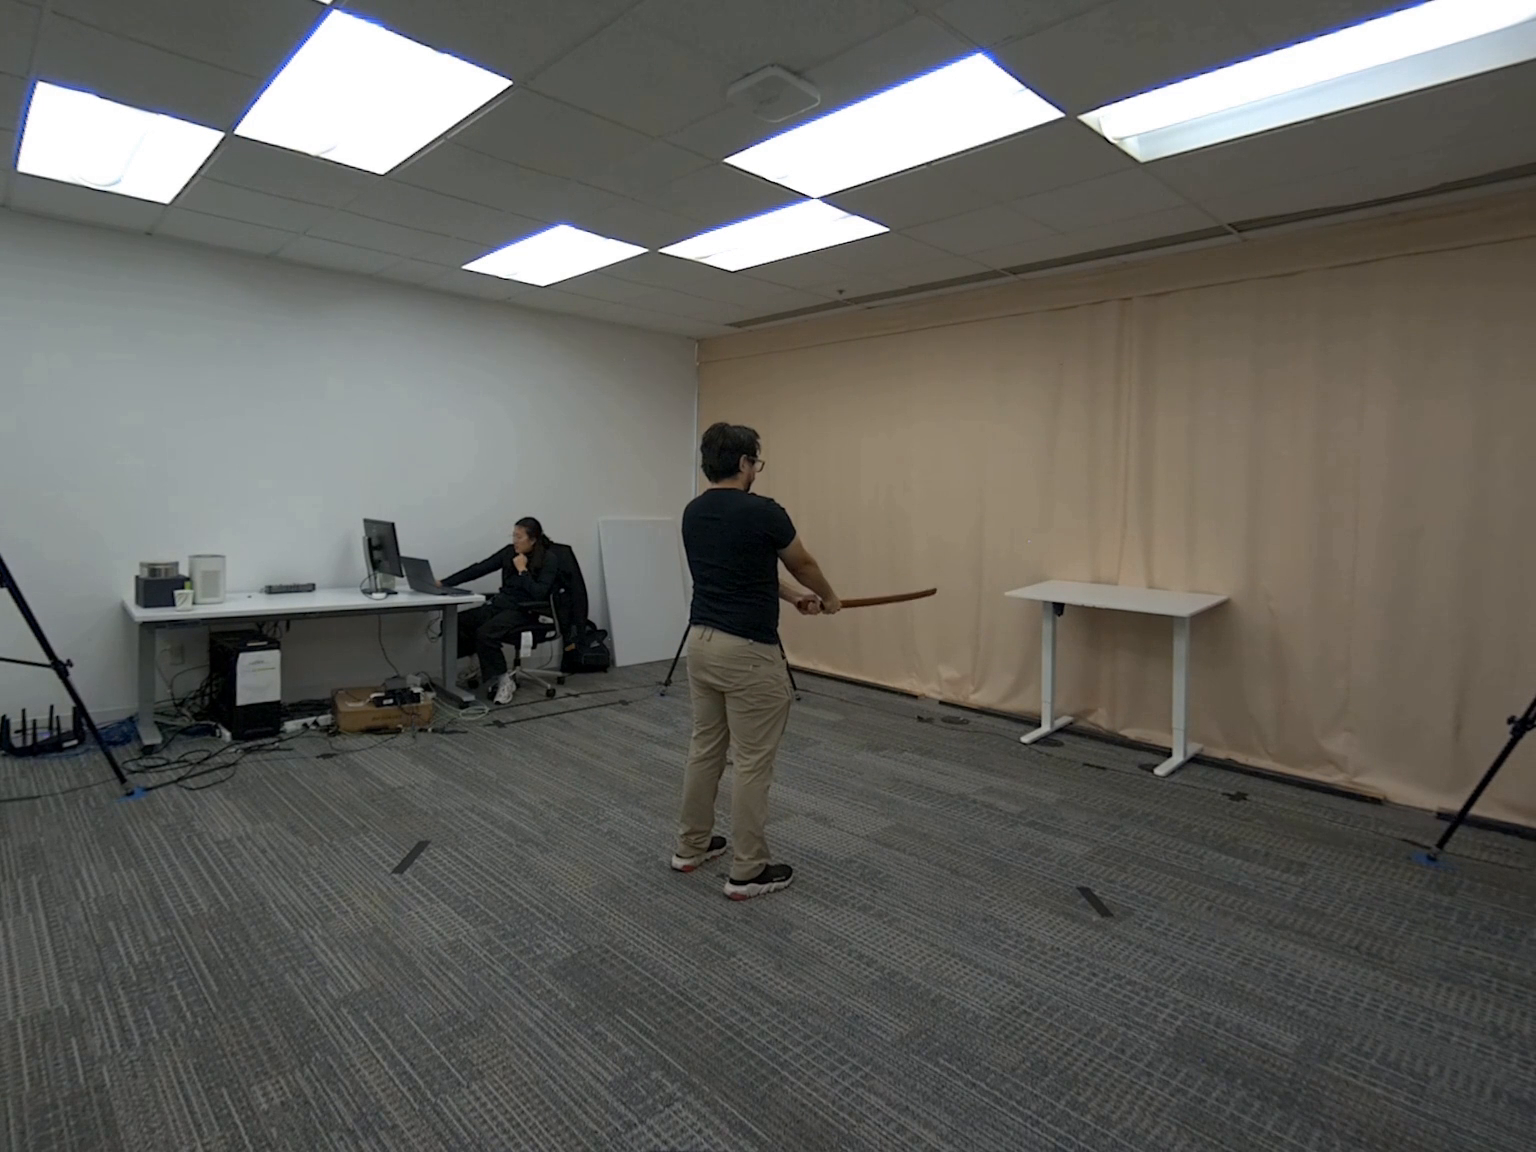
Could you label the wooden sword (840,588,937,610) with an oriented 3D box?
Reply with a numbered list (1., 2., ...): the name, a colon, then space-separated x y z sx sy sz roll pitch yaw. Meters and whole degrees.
1. wooden sword: 0.471 0.099 3.602 0.024 0.051 1.002 -10 -3 43
